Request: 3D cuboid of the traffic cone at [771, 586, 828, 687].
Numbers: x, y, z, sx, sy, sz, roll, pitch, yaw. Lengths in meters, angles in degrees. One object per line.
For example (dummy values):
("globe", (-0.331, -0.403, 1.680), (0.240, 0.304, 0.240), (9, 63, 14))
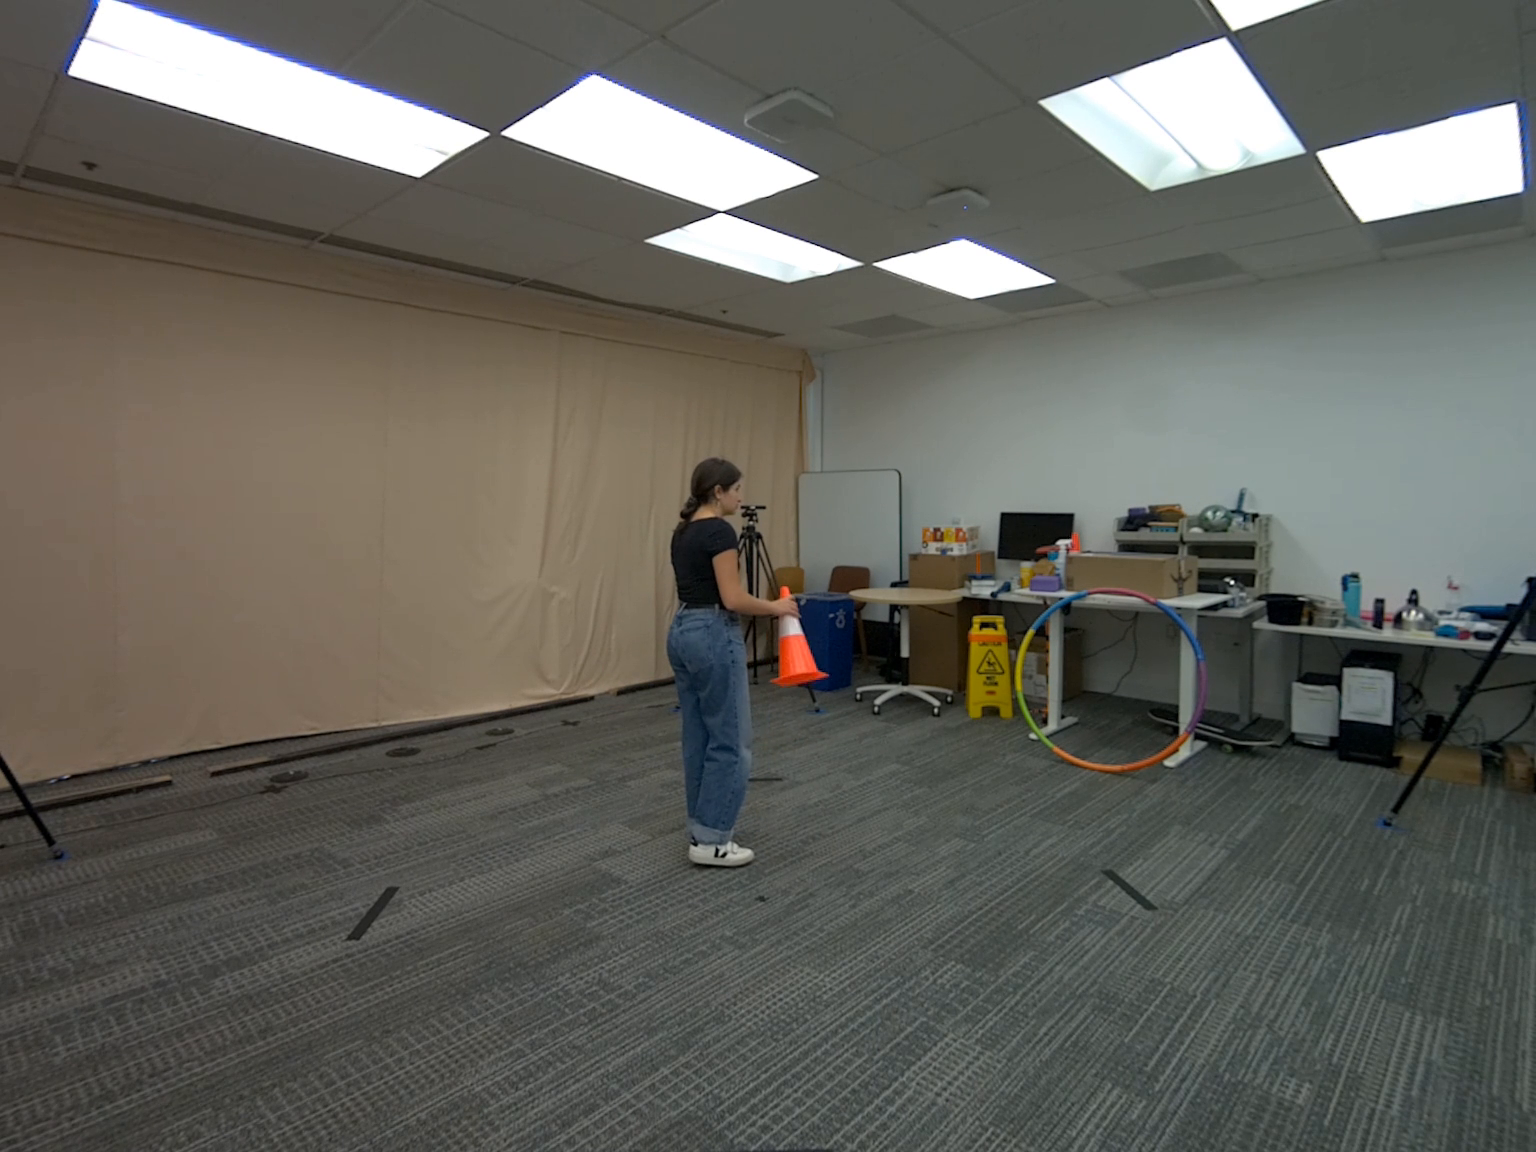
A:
("traffic cone", (0.074, 0.232, 3.380), (0.206, 0.389, 0.200), (-13, -17, 14))
